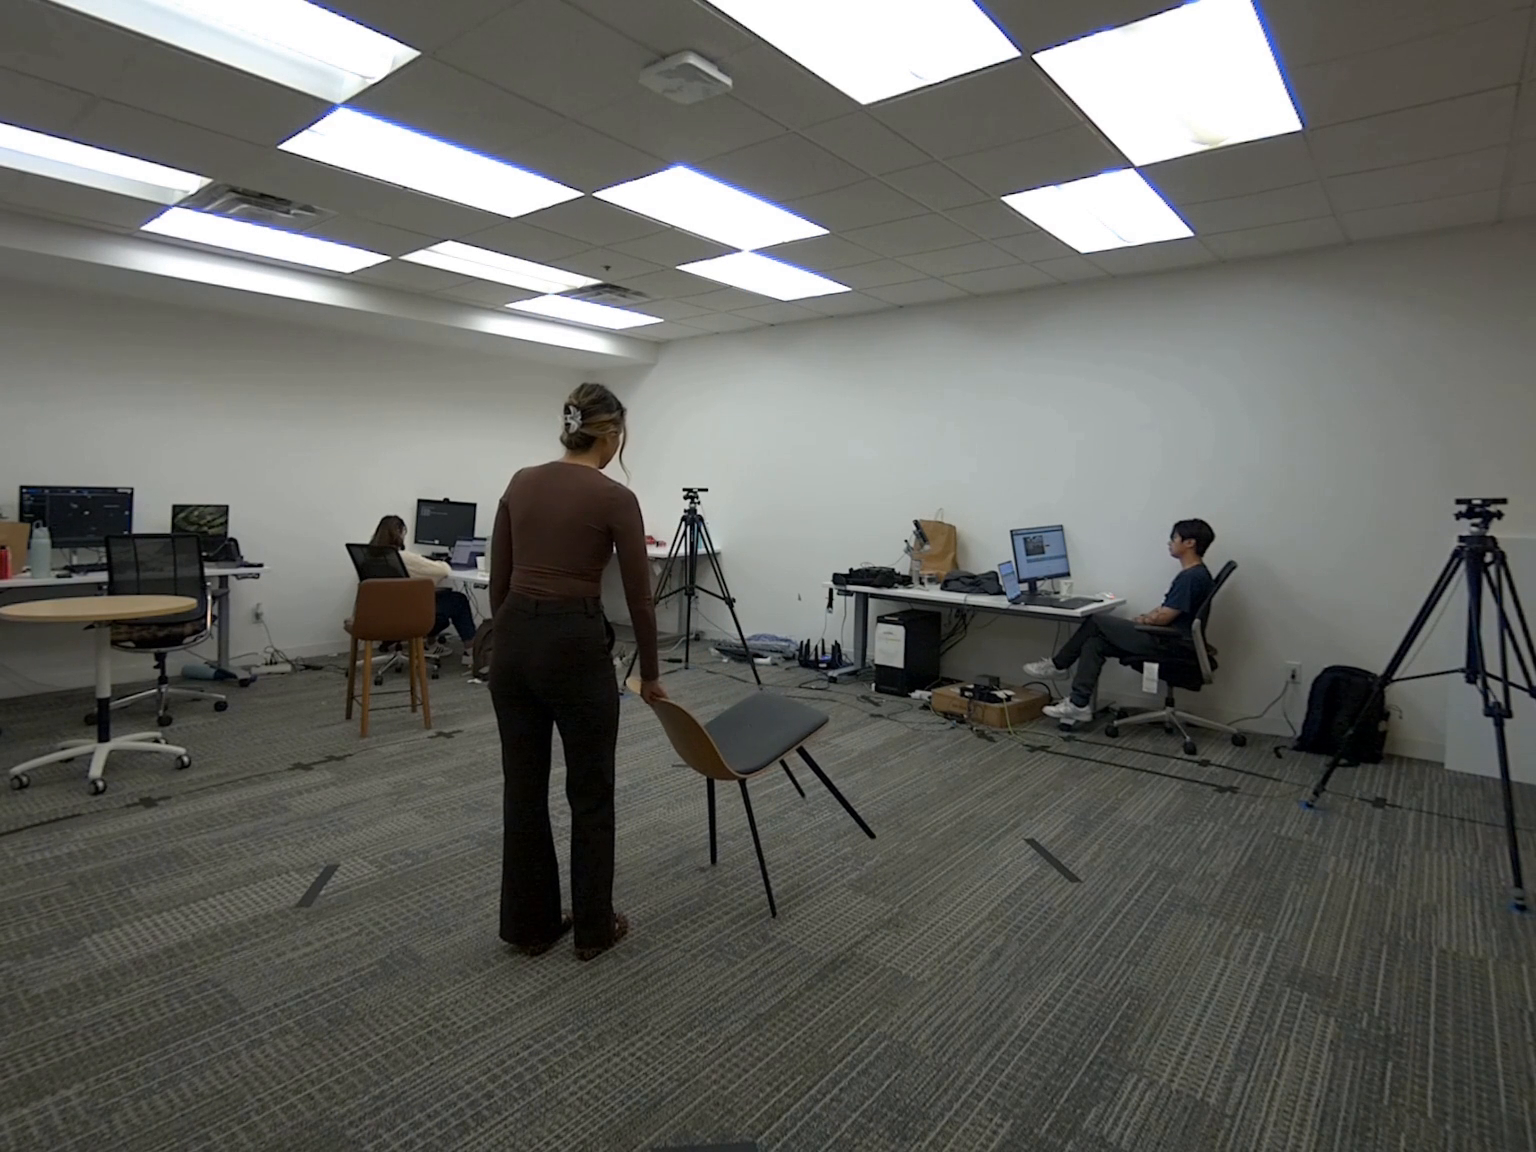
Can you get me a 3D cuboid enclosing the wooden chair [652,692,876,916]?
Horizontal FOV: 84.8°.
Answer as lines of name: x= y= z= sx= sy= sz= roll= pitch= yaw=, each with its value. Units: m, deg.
wooden chair: x=-0.068 y=0.602 z=2.945 sx=0.519 sy=0.859 sz=0.492 roll=-33 pitch=18 yaw=-24
